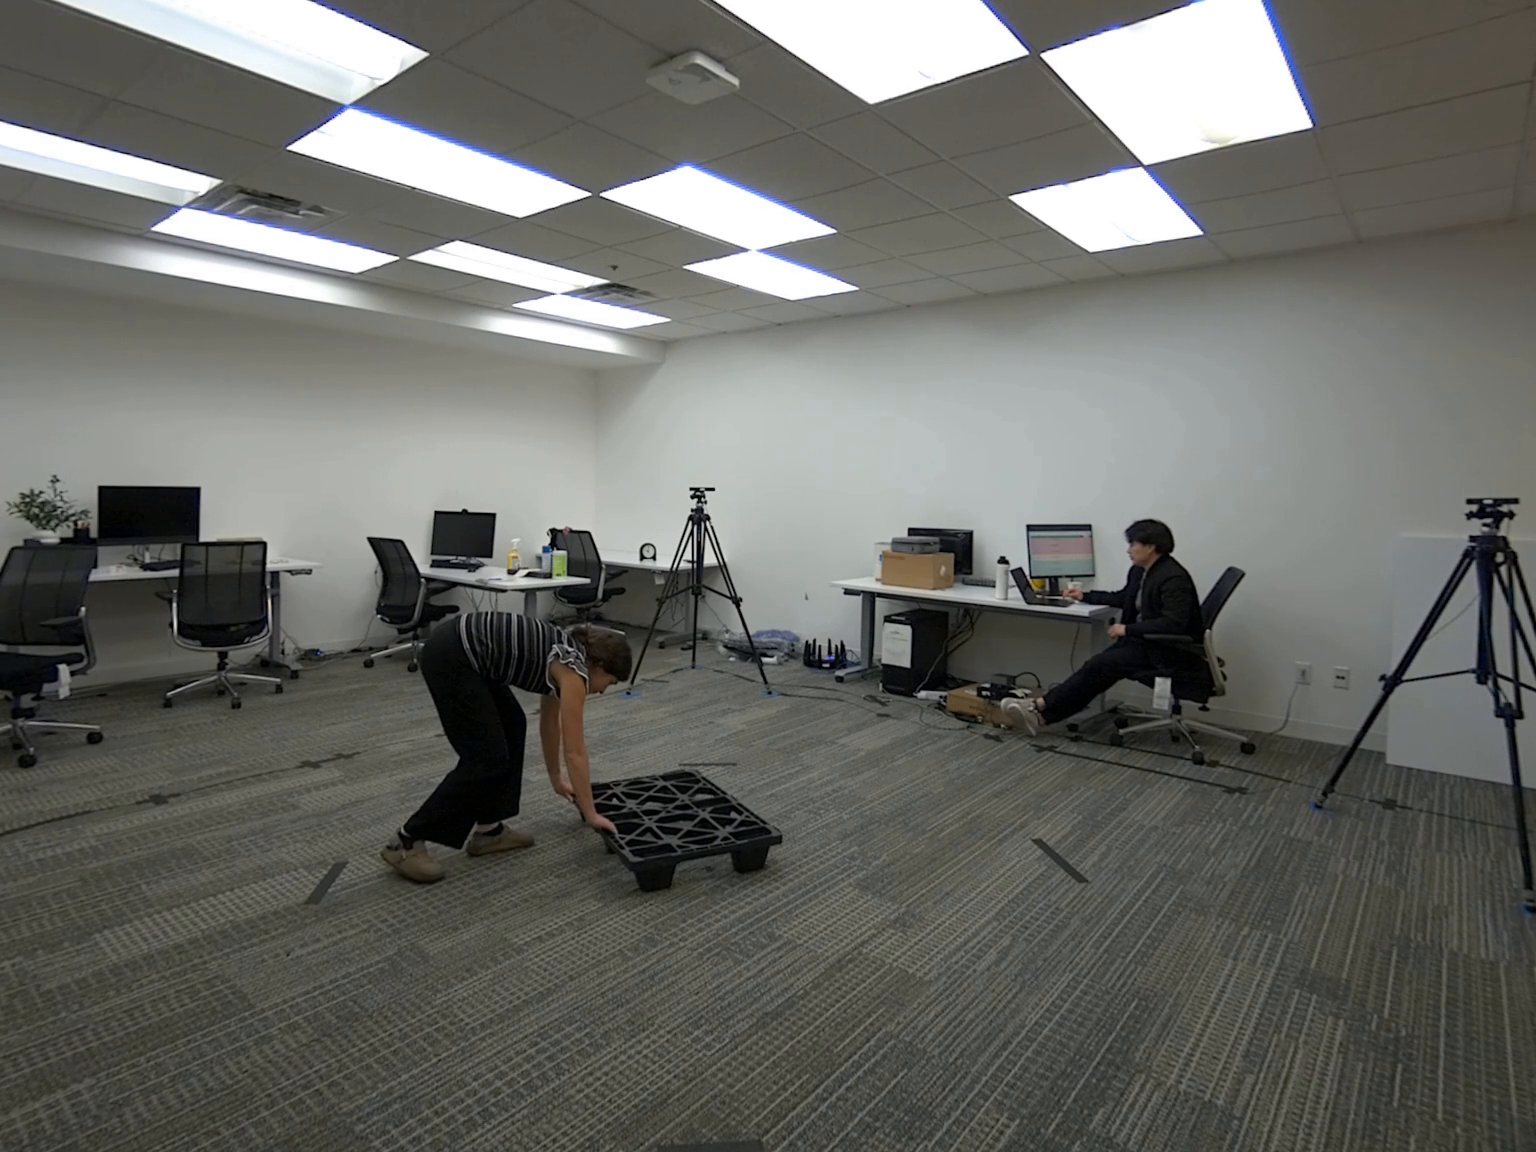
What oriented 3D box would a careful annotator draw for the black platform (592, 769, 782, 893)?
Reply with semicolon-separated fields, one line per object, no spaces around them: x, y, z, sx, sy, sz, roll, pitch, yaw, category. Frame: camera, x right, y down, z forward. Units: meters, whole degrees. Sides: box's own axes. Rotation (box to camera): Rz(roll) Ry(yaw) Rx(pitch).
-0.399;0.973;3.336;0.590;0.143;0.829;-1;6;-27;black platform
